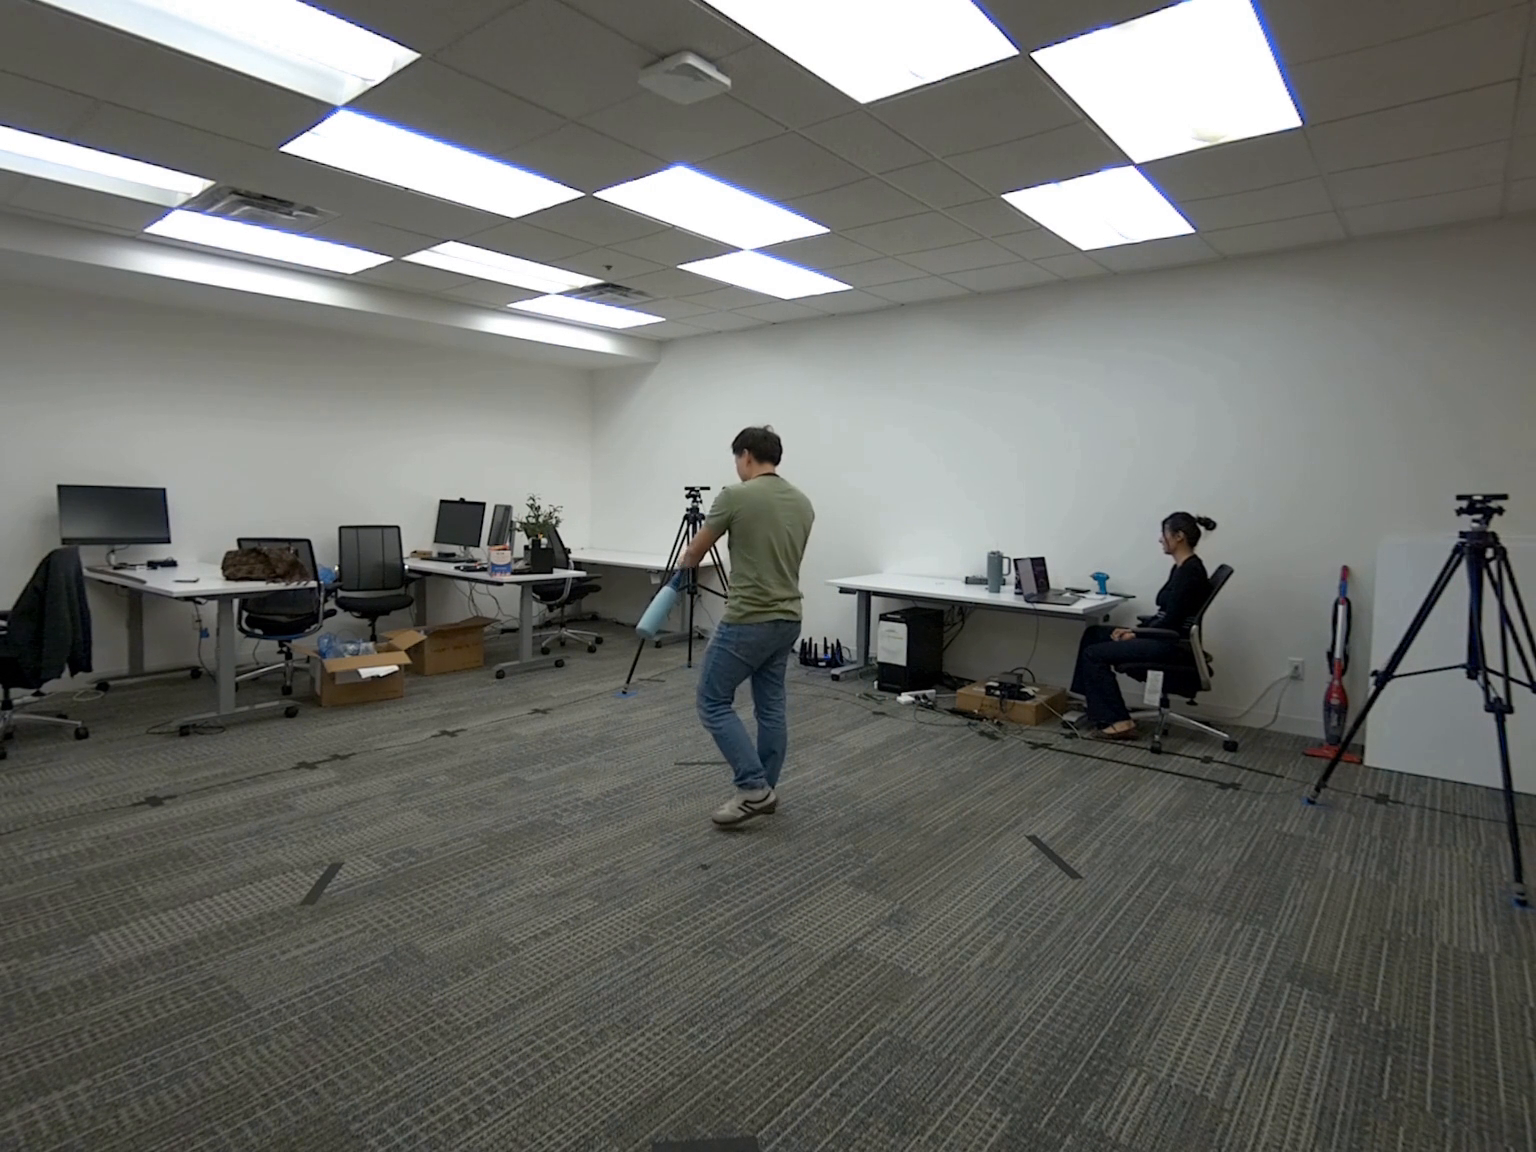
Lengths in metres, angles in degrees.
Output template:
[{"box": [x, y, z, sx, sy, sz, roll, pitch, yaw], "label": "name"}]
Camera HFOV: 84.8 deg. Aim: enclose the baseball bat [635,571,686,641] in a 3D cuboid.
[{"box": [-0.440, 0.057, 3.857, 0.091, 0.547, 0.087, 22, -31, 12], "label": "baseball bat"}]
